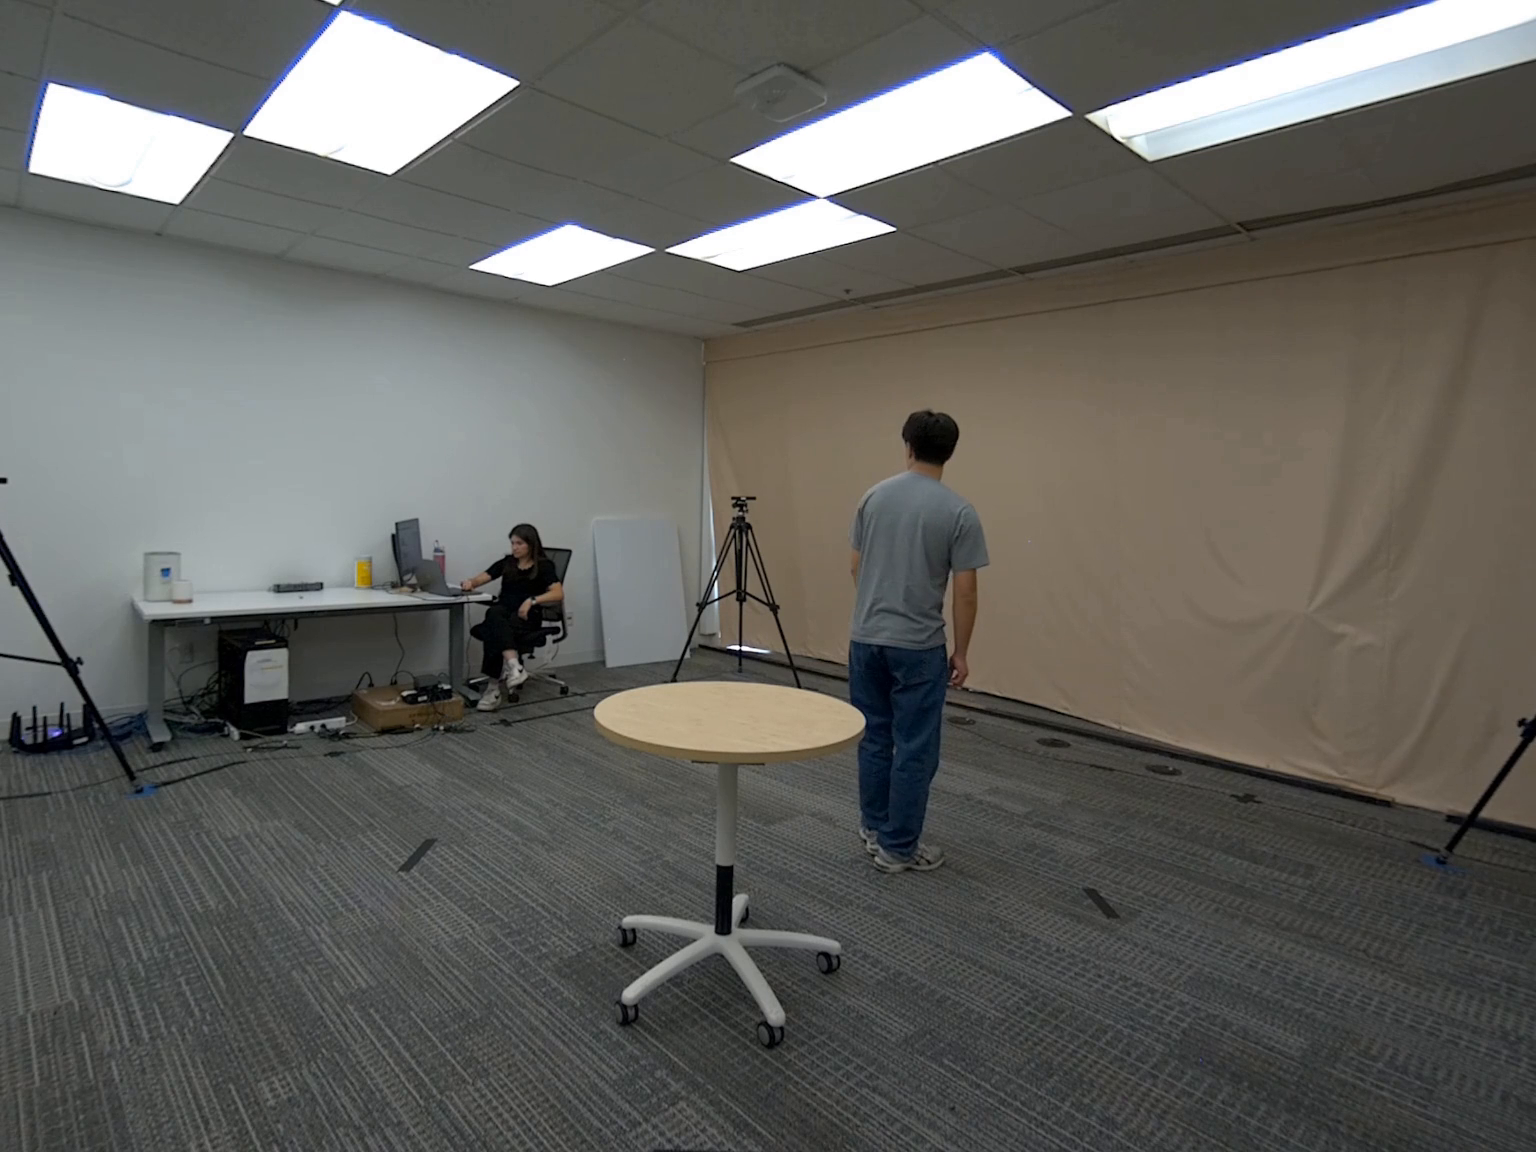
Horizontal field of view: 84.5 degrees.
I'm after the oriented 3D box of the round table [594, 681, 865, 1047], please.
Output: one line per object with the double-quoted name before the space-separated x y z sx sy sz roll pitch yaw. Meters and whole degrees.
"round table" -0.126 0.783 2.413 0.763 0.792 0.767 2 4 -1
